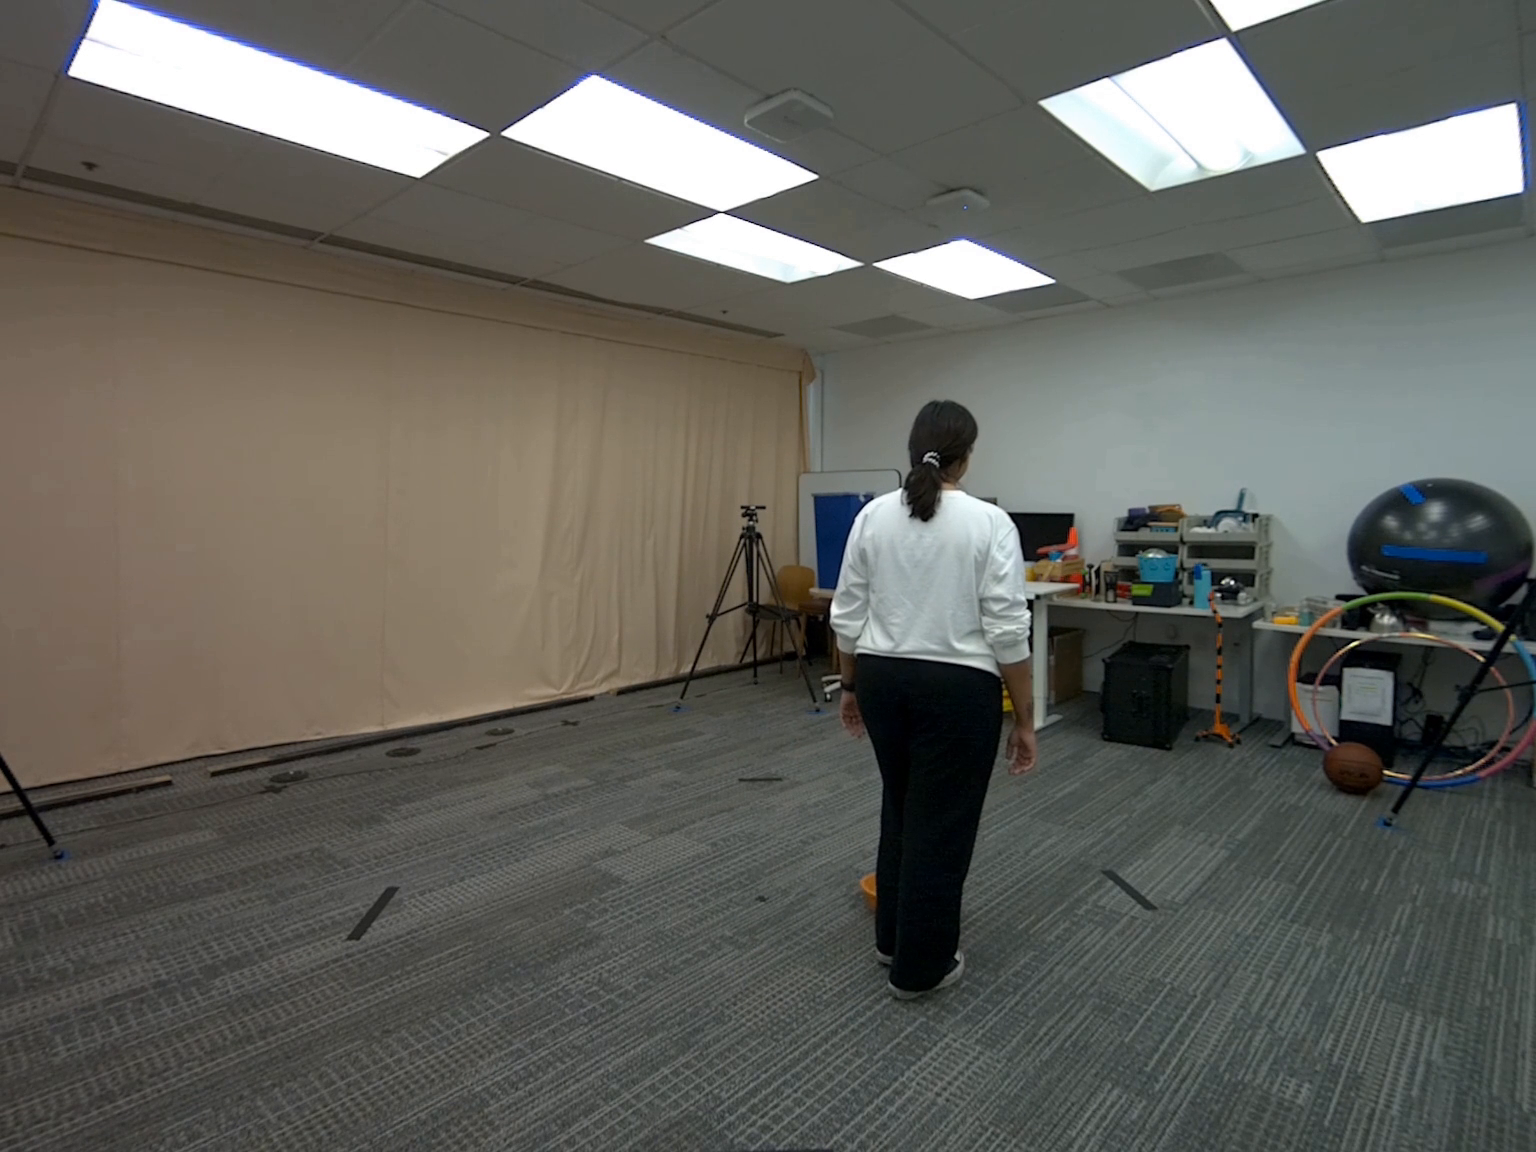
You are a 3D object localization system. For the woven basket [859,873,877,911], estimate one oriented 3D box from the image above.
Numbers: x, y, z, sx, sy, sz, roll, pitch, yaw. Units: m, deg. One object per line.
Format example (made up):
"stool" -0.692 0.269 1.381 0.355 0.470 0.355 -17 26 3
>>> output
"woven basket" 0.496 1.105 2.899 0.361 0.073 0.245 2 2 37
